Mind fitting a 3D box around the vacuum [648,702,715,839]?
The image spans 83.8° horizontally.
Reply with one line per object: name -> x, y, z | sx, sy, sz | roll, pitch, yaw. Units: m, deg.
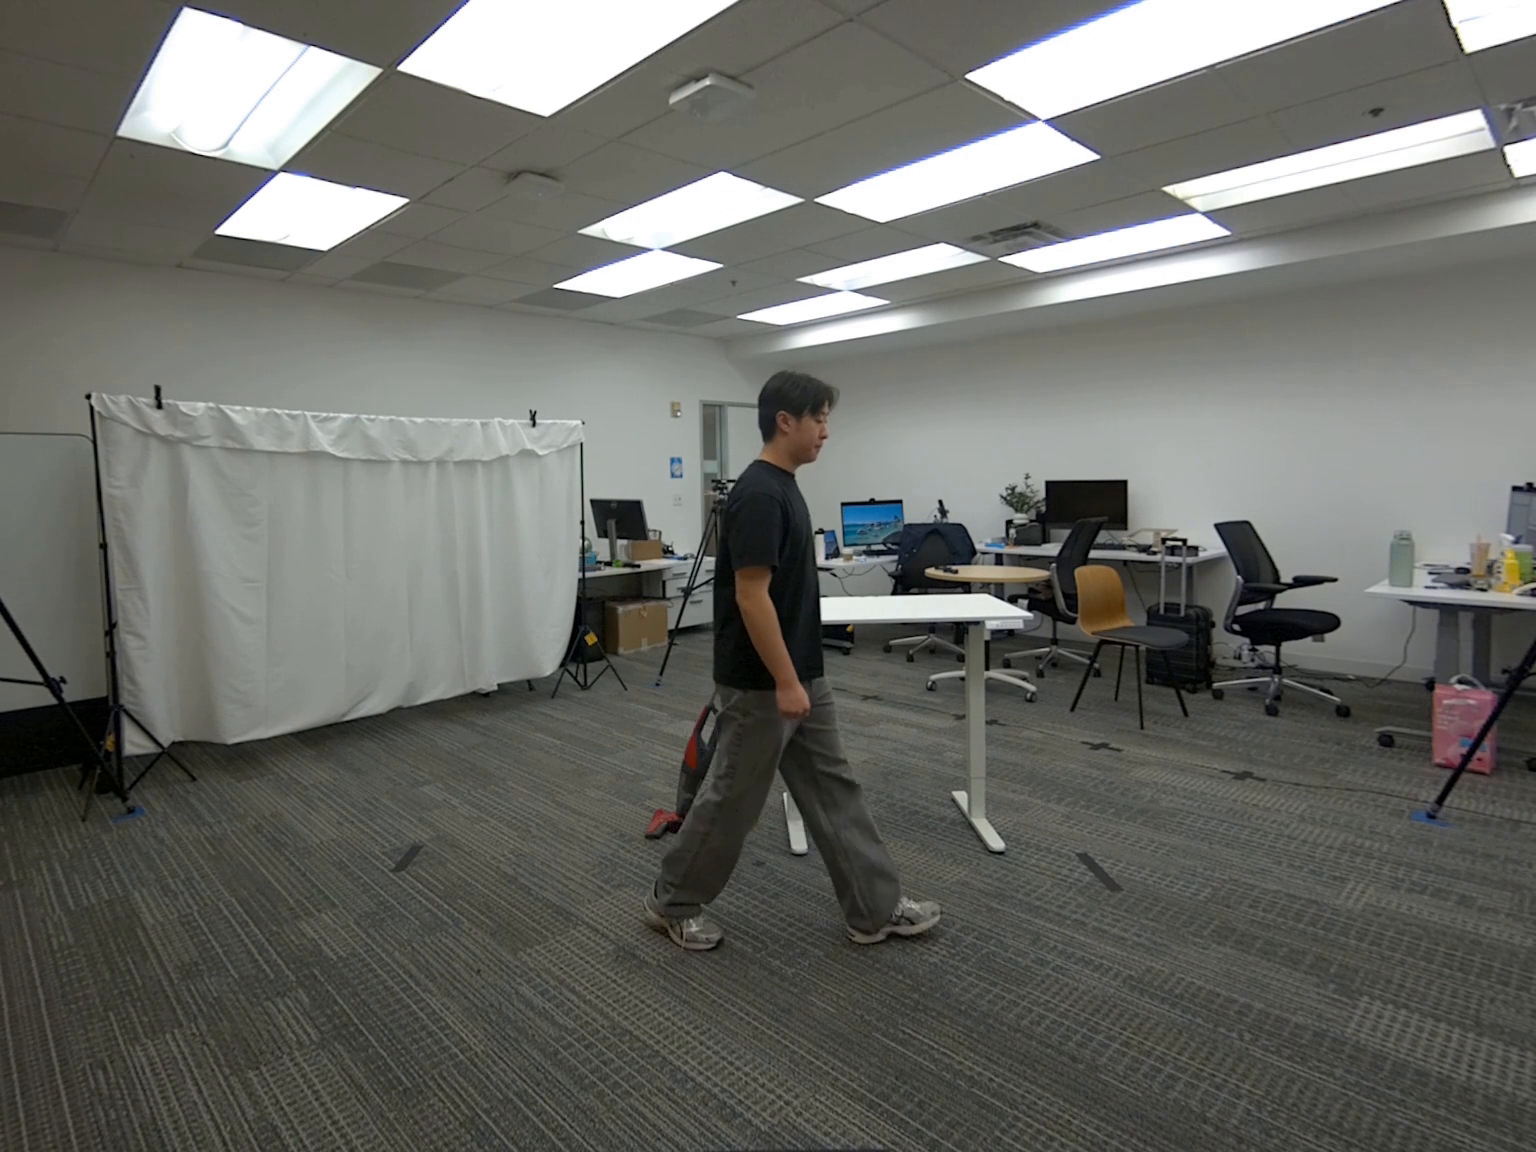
vacuum -> -0.196, 0.534, 3.408 | 0.144, 1.046, 0.254 | 23, 6, -3
